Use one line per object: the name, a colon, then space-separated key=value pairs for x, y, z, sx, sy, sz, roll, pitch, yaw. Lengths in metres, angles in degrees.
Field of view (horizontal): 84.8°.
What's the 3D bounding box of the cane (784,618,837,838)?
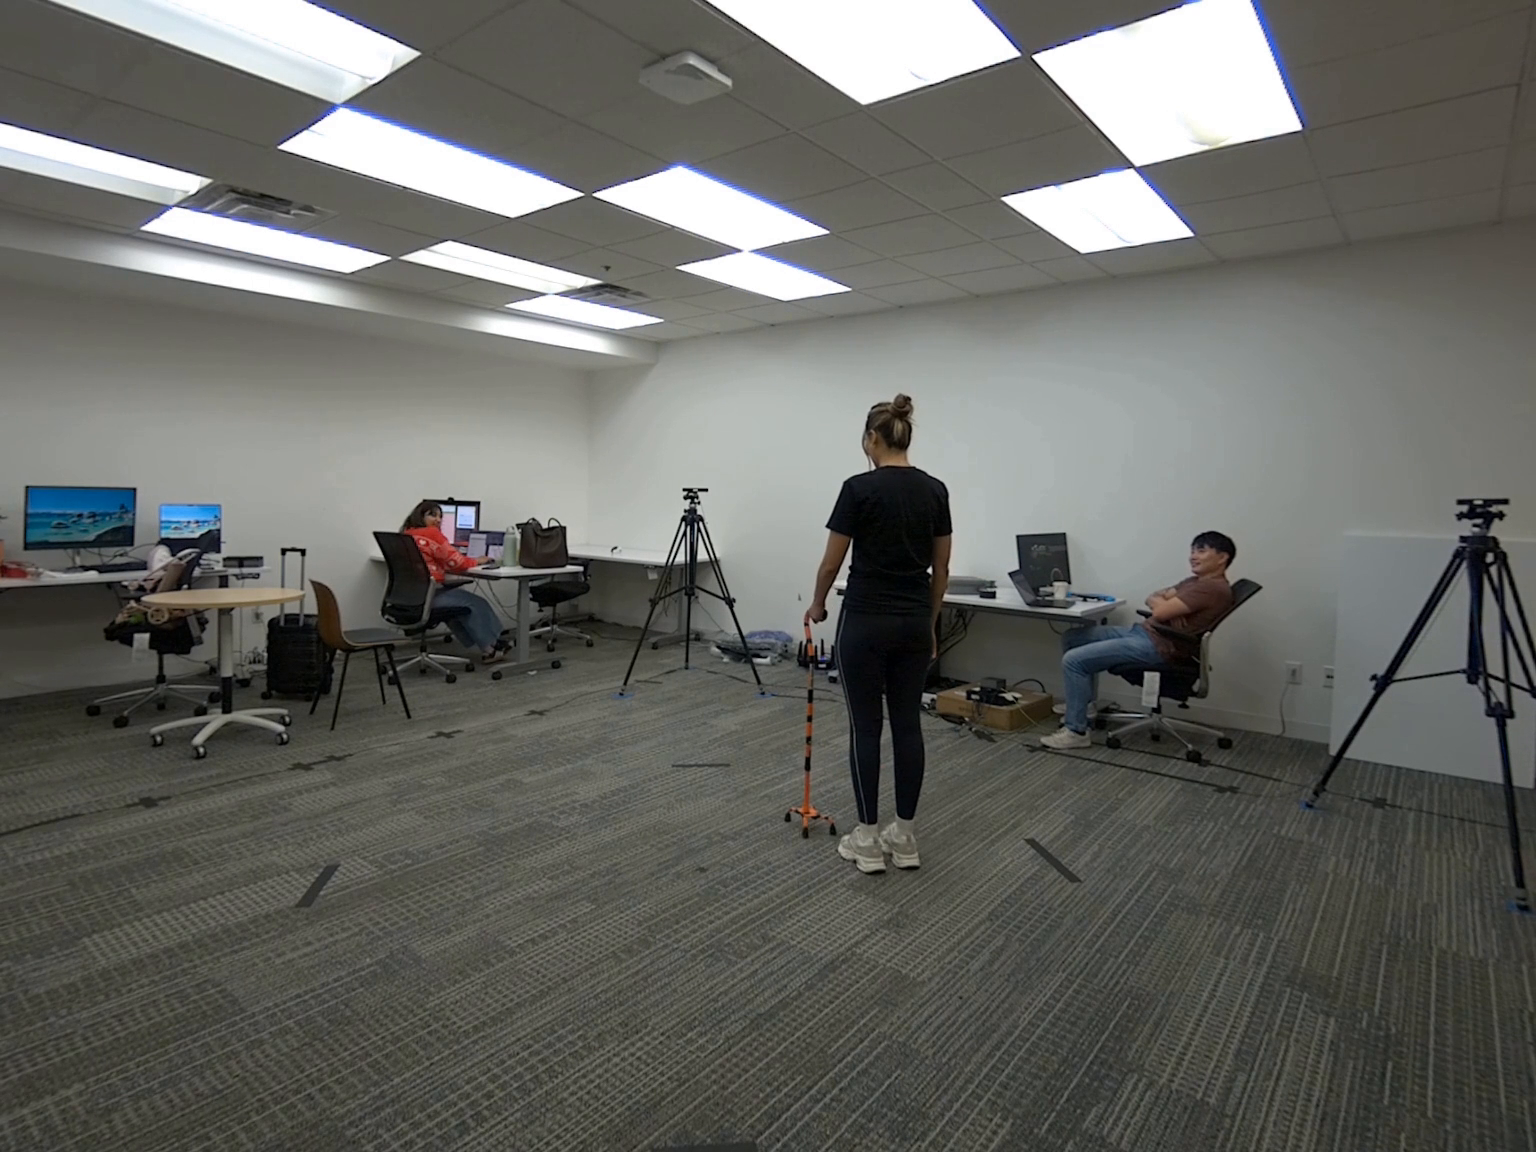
cane: x=0.184 y=0.577 z=3.512 sx=0.148 sy=0.907 sz=0.211 roll=1 pitch=1 yaw=-22
